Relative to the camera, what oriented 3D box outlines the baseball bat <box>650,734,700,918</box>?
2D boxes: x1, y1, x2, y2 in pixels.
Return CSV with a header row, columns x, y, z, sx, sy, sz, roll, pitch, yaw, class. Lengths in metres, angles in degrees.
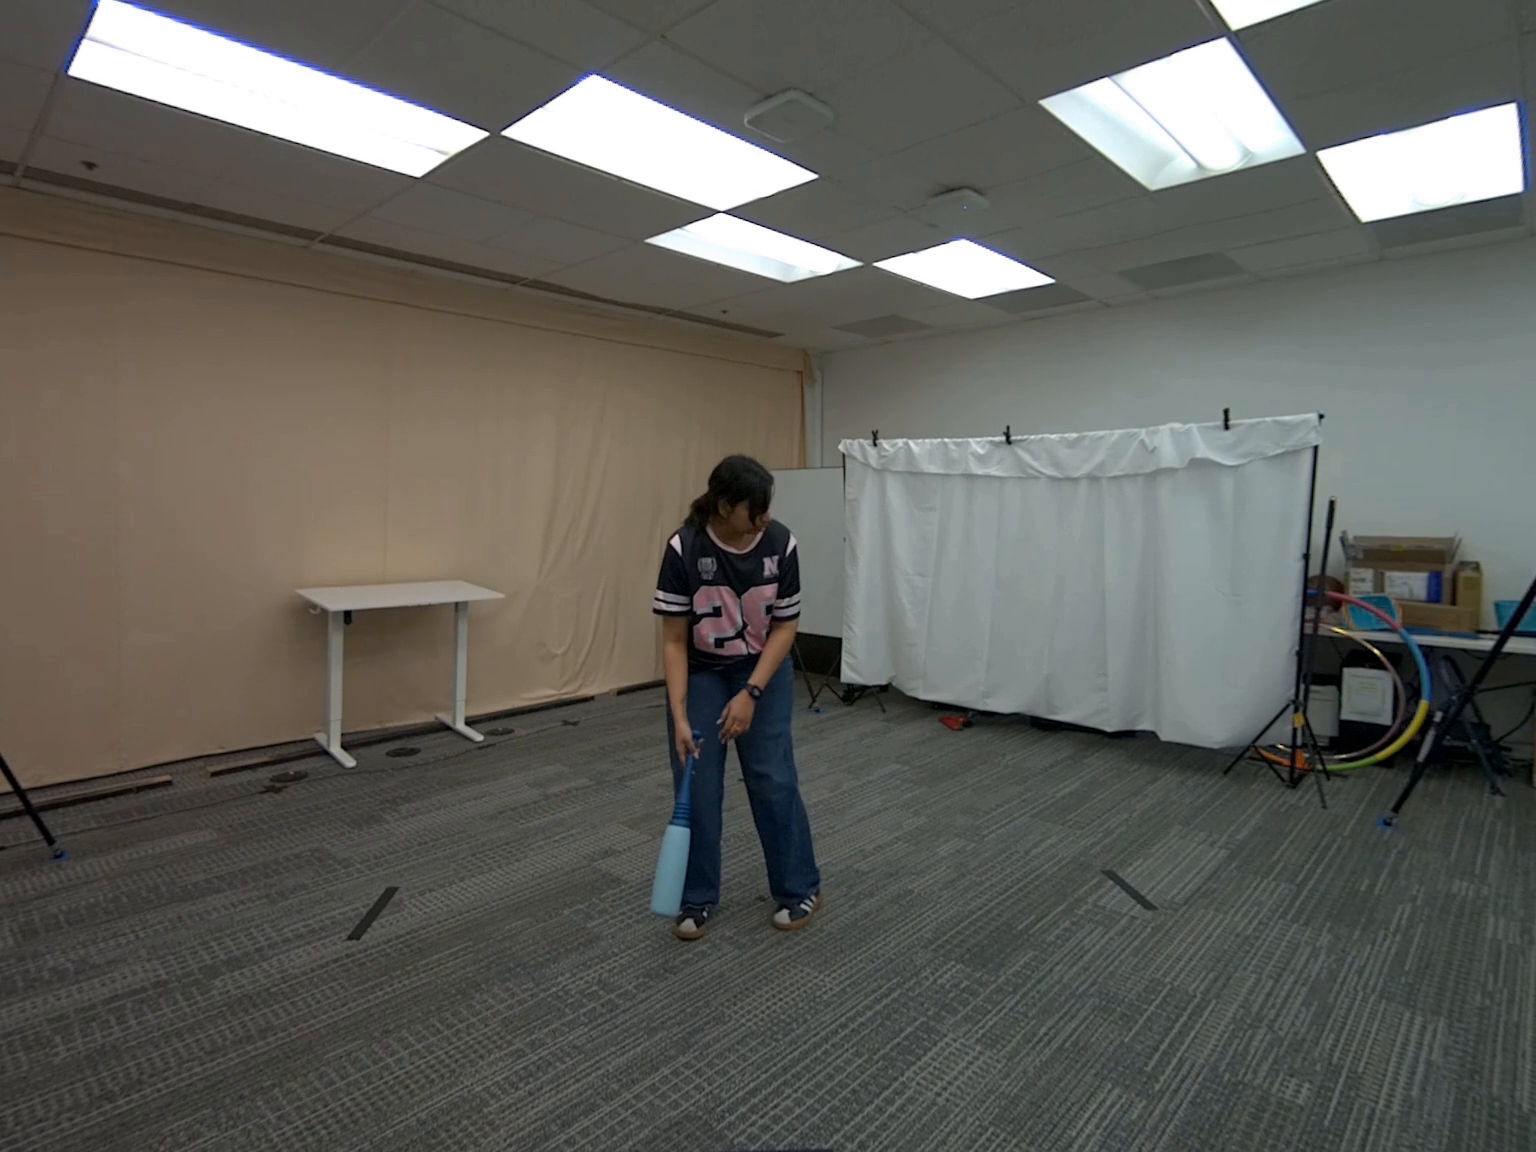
x,y,z,sx,sy,sz,roll,pitch,yaw,class
-0.263,0.739,2.547,0.089,0.547,0.088,9,-22,2,baseball bat
